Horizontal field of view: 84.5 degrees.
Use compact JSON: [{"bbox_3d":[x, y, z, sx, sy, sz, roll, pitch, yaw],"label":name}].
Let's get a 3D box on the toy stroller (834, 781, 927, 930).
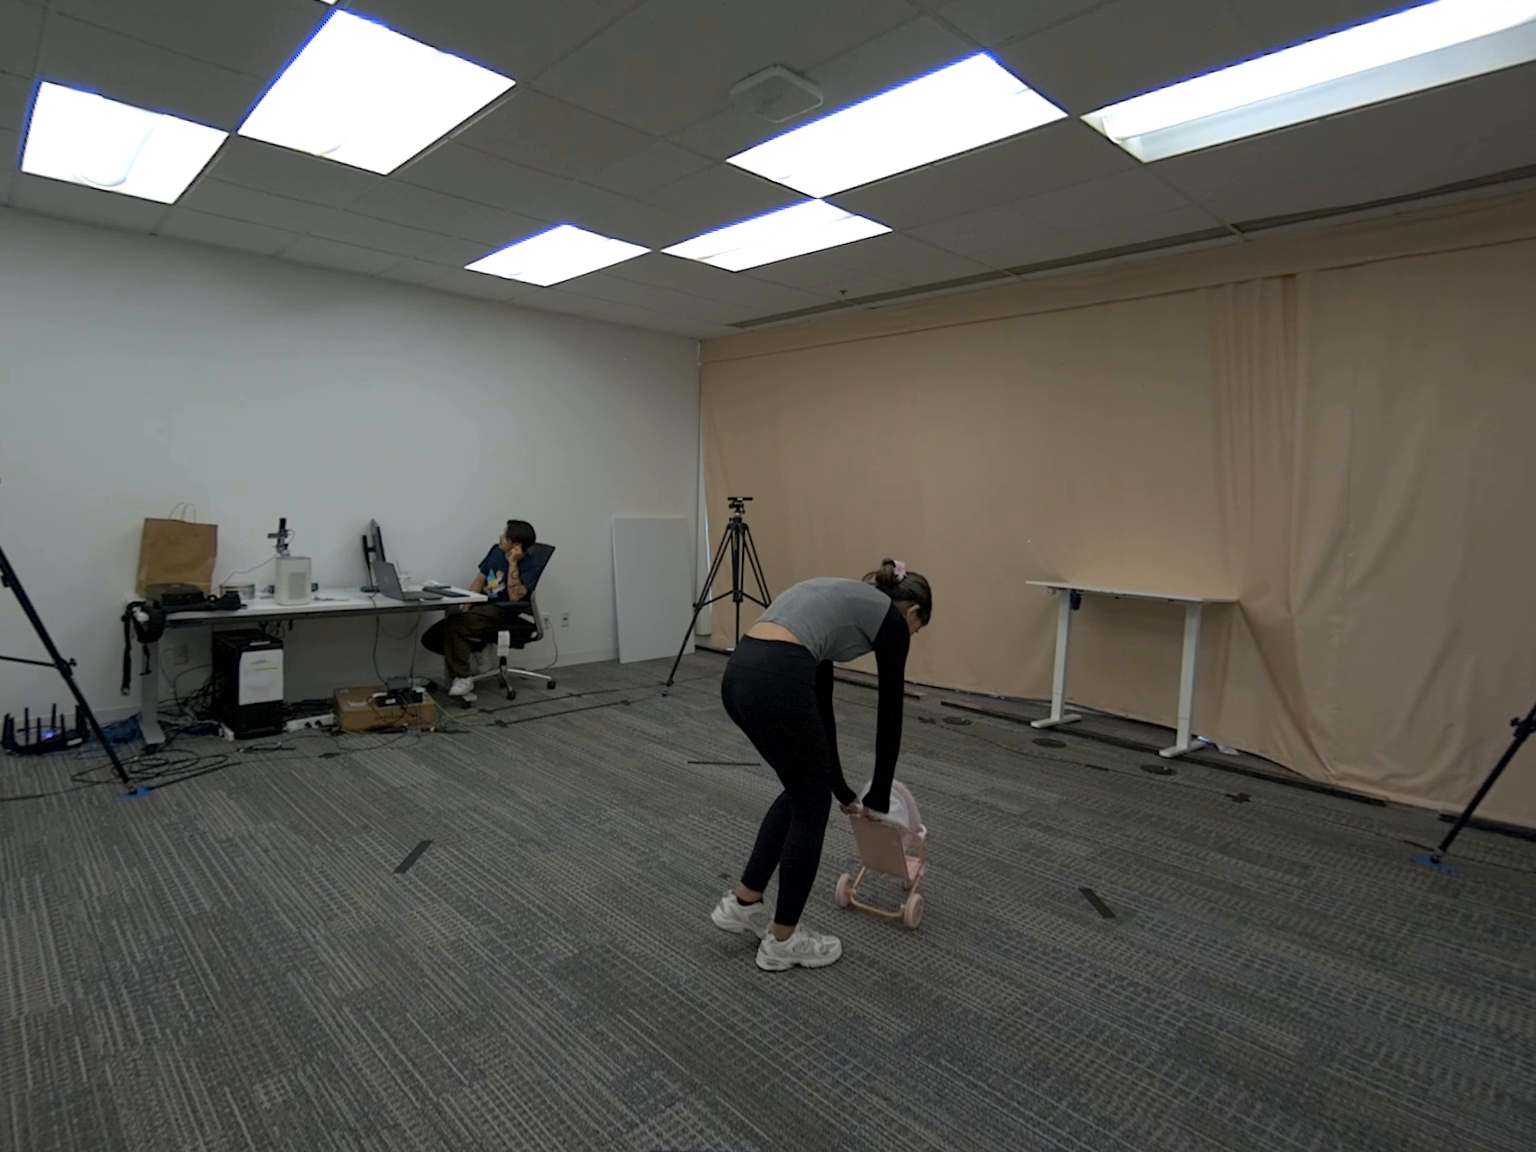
[{"bbox_3d":[0.408,0.918,2.863,0.288,0.527,0.338,6,22,35],"label":"toy stroller"}]
